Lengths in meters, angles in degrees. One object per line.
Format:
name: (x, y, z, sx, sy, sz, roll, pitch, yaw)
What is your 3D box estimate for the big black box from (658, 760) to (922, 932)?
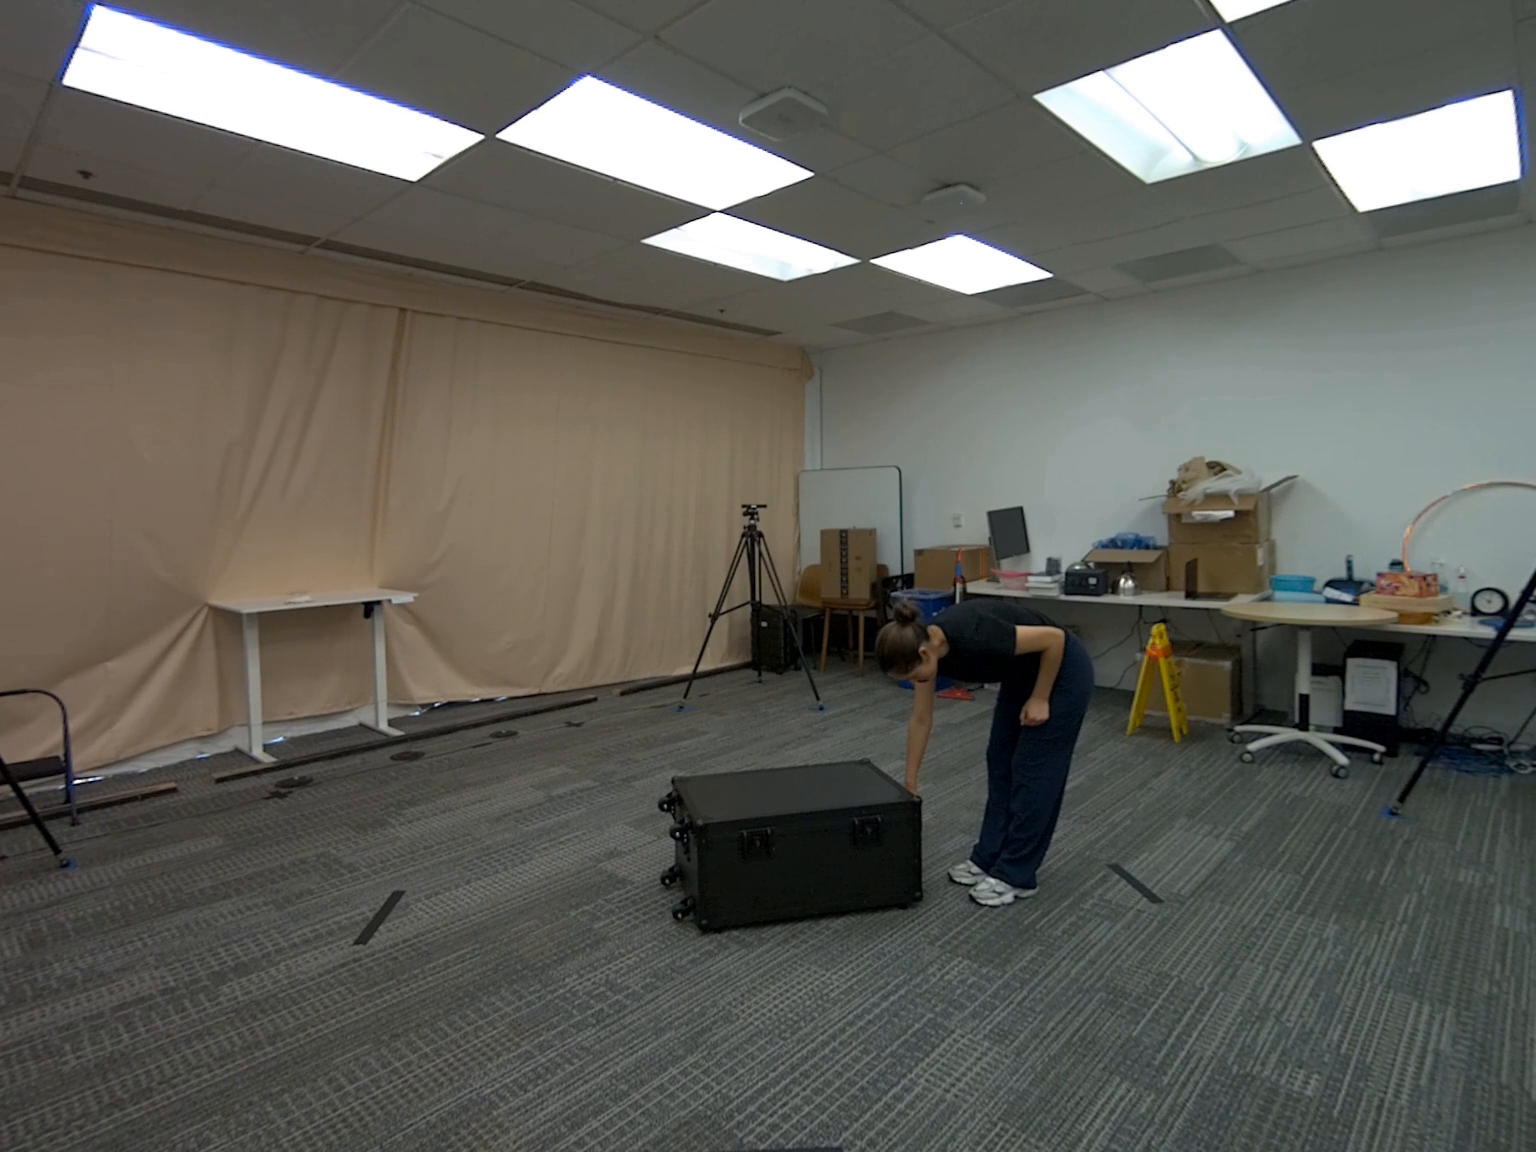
big black box: (0.067, 0.942, 3.017, 0.849, 0.395, 0.530, -2, 4, -14)
